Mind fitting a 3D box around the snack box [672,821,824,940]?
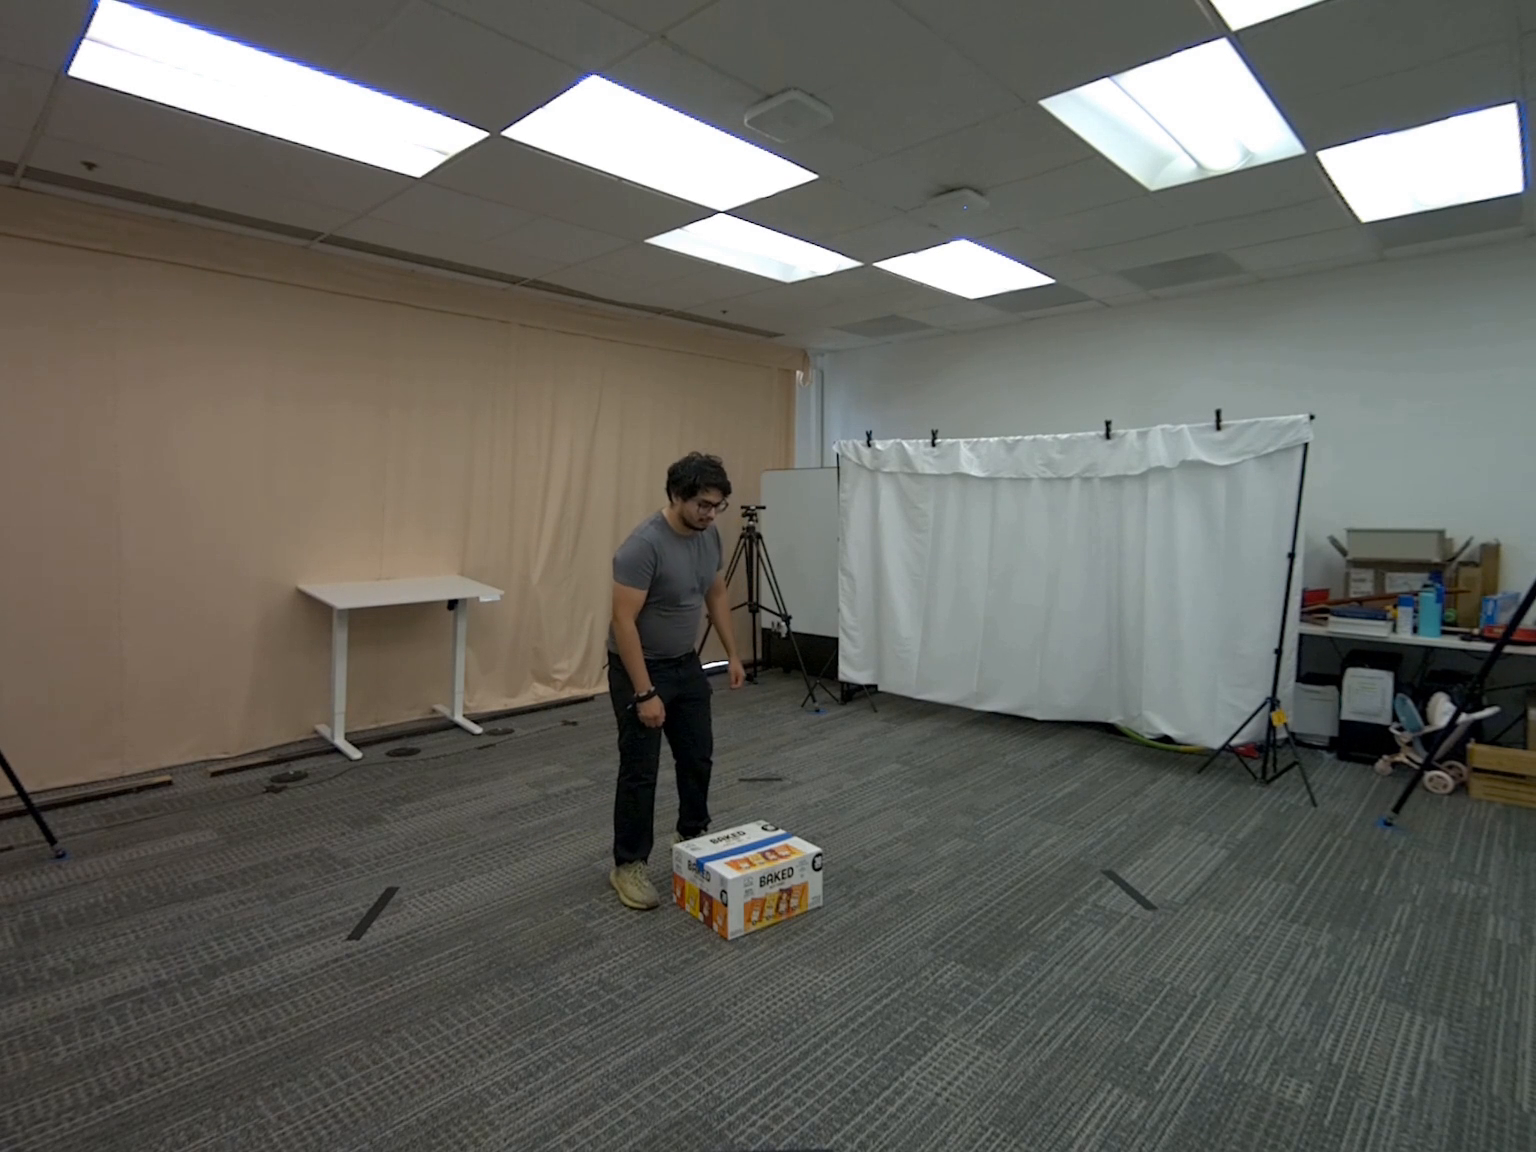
[{"bbox_3d":[-0.068,1.048,2.936,0.393,0.205,0.351,-4,6,-37],"label":"snack box"}]
